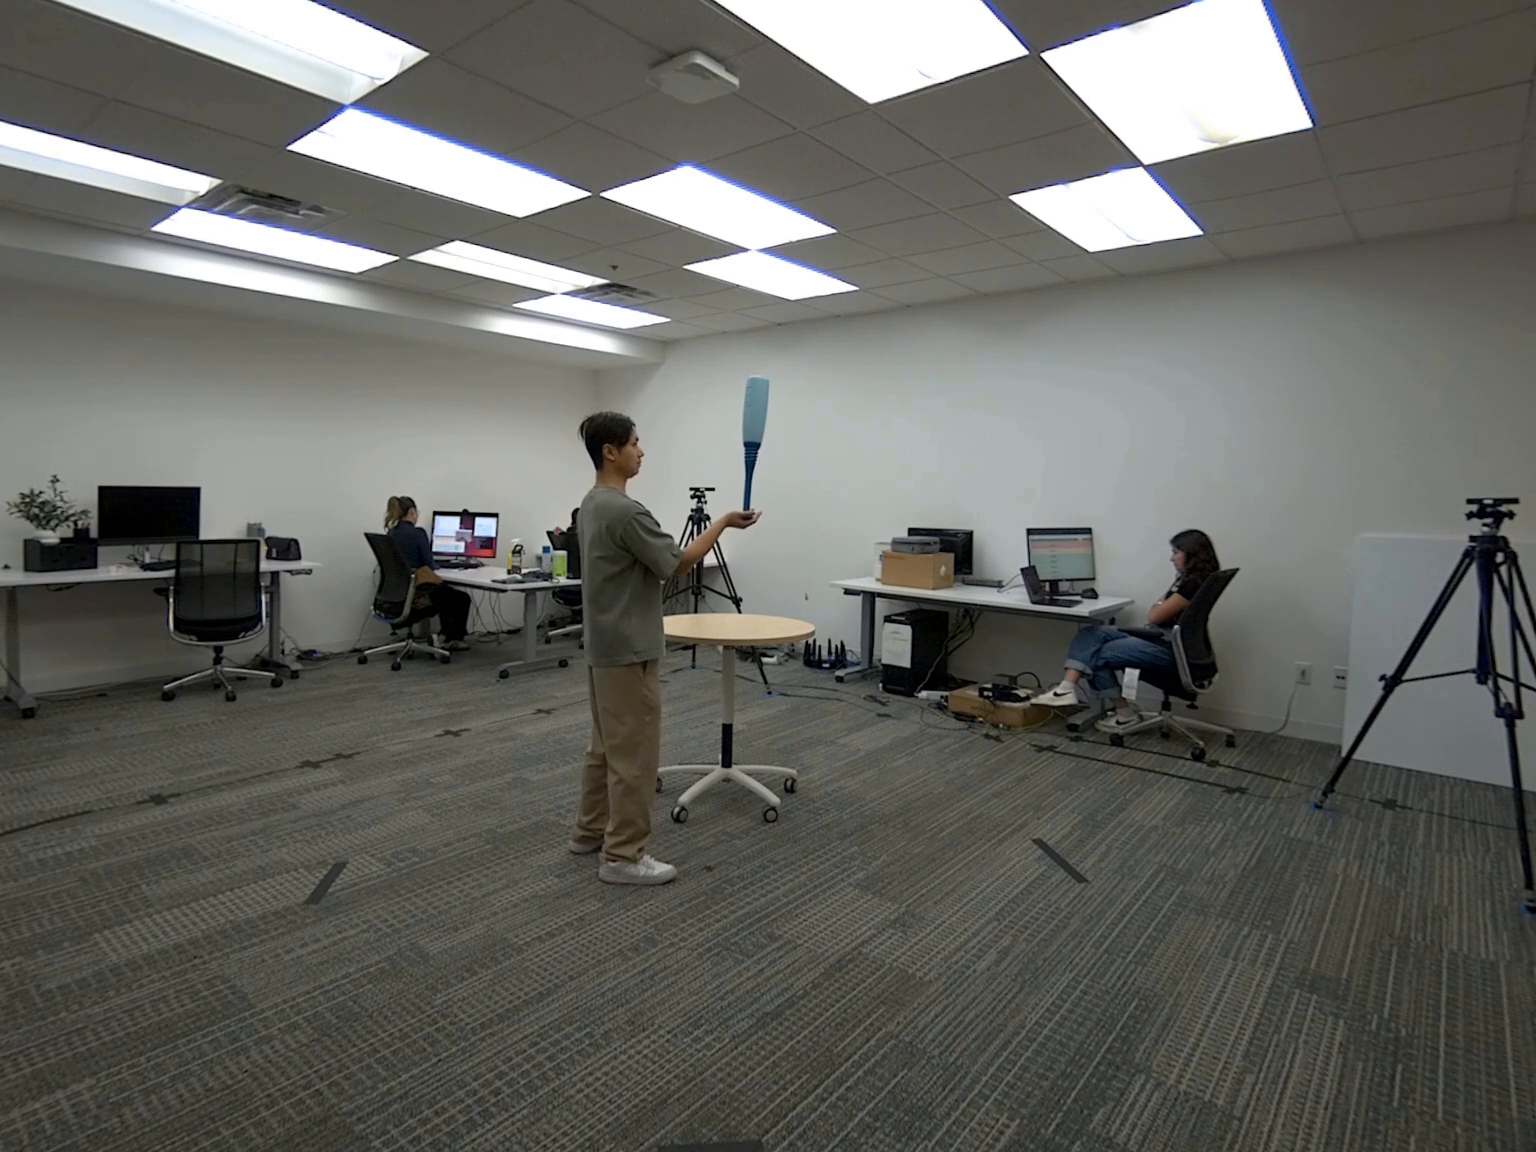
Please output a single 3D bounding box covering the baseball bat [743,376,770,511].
[{"bbox_3d":[-0.068,-0.490,3.185,0.089,0.545,0.089,5,-4,-2],"label":"baseball bat"}]
